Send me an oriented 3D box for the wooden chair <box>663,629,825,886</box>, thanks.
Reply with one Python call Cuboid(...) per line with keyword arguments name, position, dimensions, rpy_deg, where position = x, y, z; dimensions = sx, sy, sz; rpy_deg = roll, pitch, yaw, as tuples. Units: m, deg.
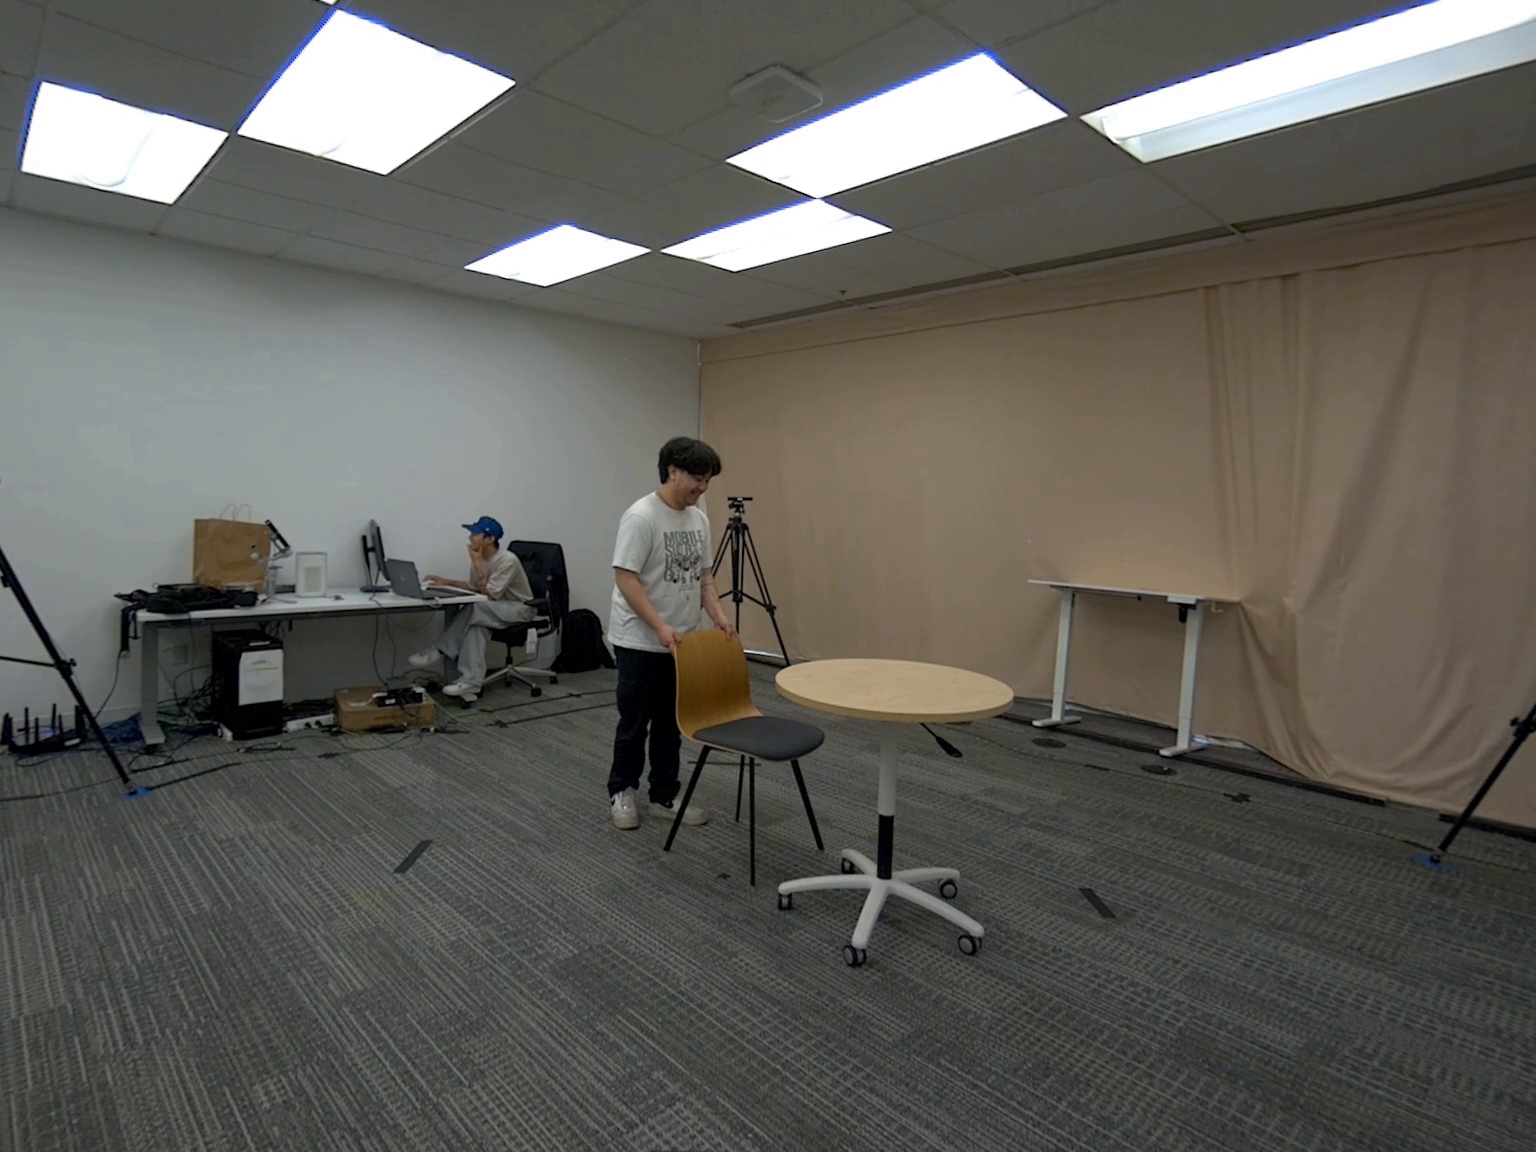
Cuboid(name="wooden chair", position=(-0.085, 0.663, 3.302), dimensions=(0.535, 0.877, 0.467), rpy_deg=(-2, 0, 40))
